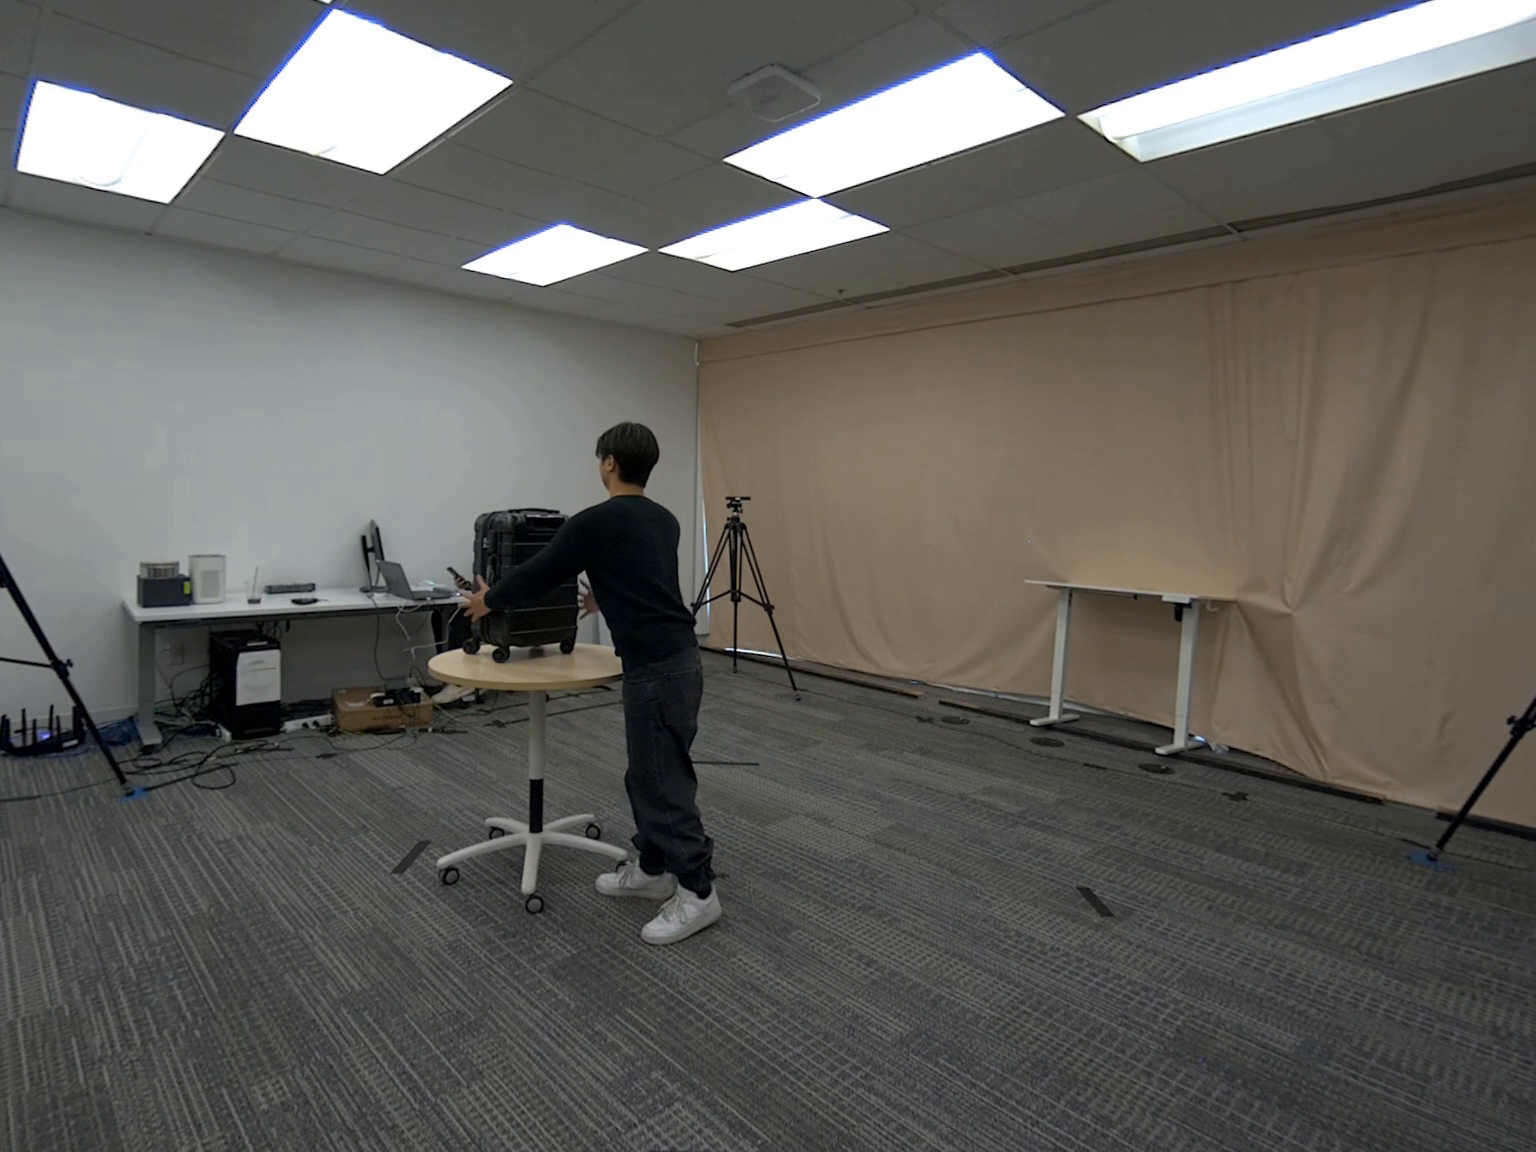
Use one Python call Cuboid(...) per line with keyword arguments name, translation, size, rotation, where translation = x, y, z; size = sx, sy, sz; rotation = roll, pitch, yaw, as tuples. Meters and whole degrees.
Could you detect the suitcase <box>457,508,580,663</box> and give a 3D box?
Cuboid(name="suitcase", translation=(-0.930, 0.019, 3.193), size=(0.255, 0.548, 0.367), rotation=(5, 5, 43))
